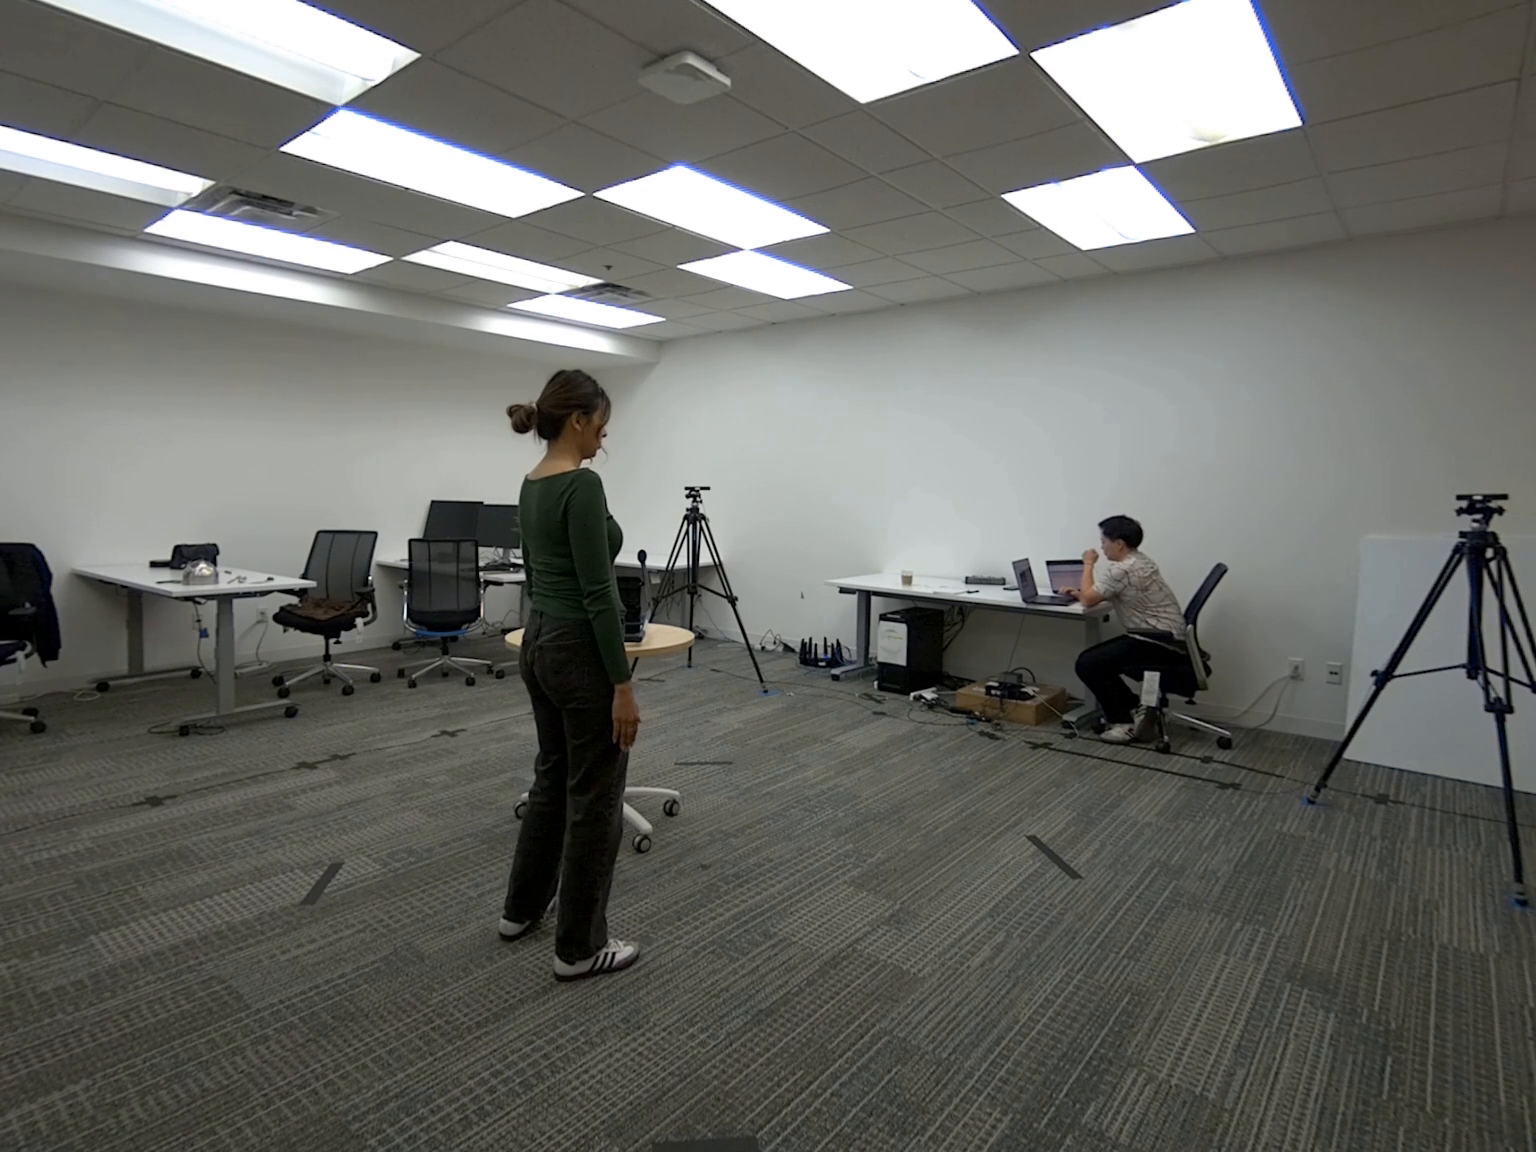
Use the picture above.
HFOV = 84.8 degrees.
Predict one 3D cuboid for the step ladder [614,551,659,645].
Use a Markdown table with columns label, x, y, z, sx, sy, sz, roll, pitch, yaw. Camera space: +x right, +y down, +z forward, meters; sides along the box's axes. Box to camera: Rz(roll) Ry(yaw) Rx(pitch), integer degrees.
| label | x | y | z | sx | sy | sz | roll | pitch | yaw |
| --- | --- | --- | --- | --- | --- | --- | --- | --- | --- |
| step ladder | -0.709 | 0.102 | 3.533 | 0.430 | 0.352 | 0.602 | 1 | -6 | -2 |
